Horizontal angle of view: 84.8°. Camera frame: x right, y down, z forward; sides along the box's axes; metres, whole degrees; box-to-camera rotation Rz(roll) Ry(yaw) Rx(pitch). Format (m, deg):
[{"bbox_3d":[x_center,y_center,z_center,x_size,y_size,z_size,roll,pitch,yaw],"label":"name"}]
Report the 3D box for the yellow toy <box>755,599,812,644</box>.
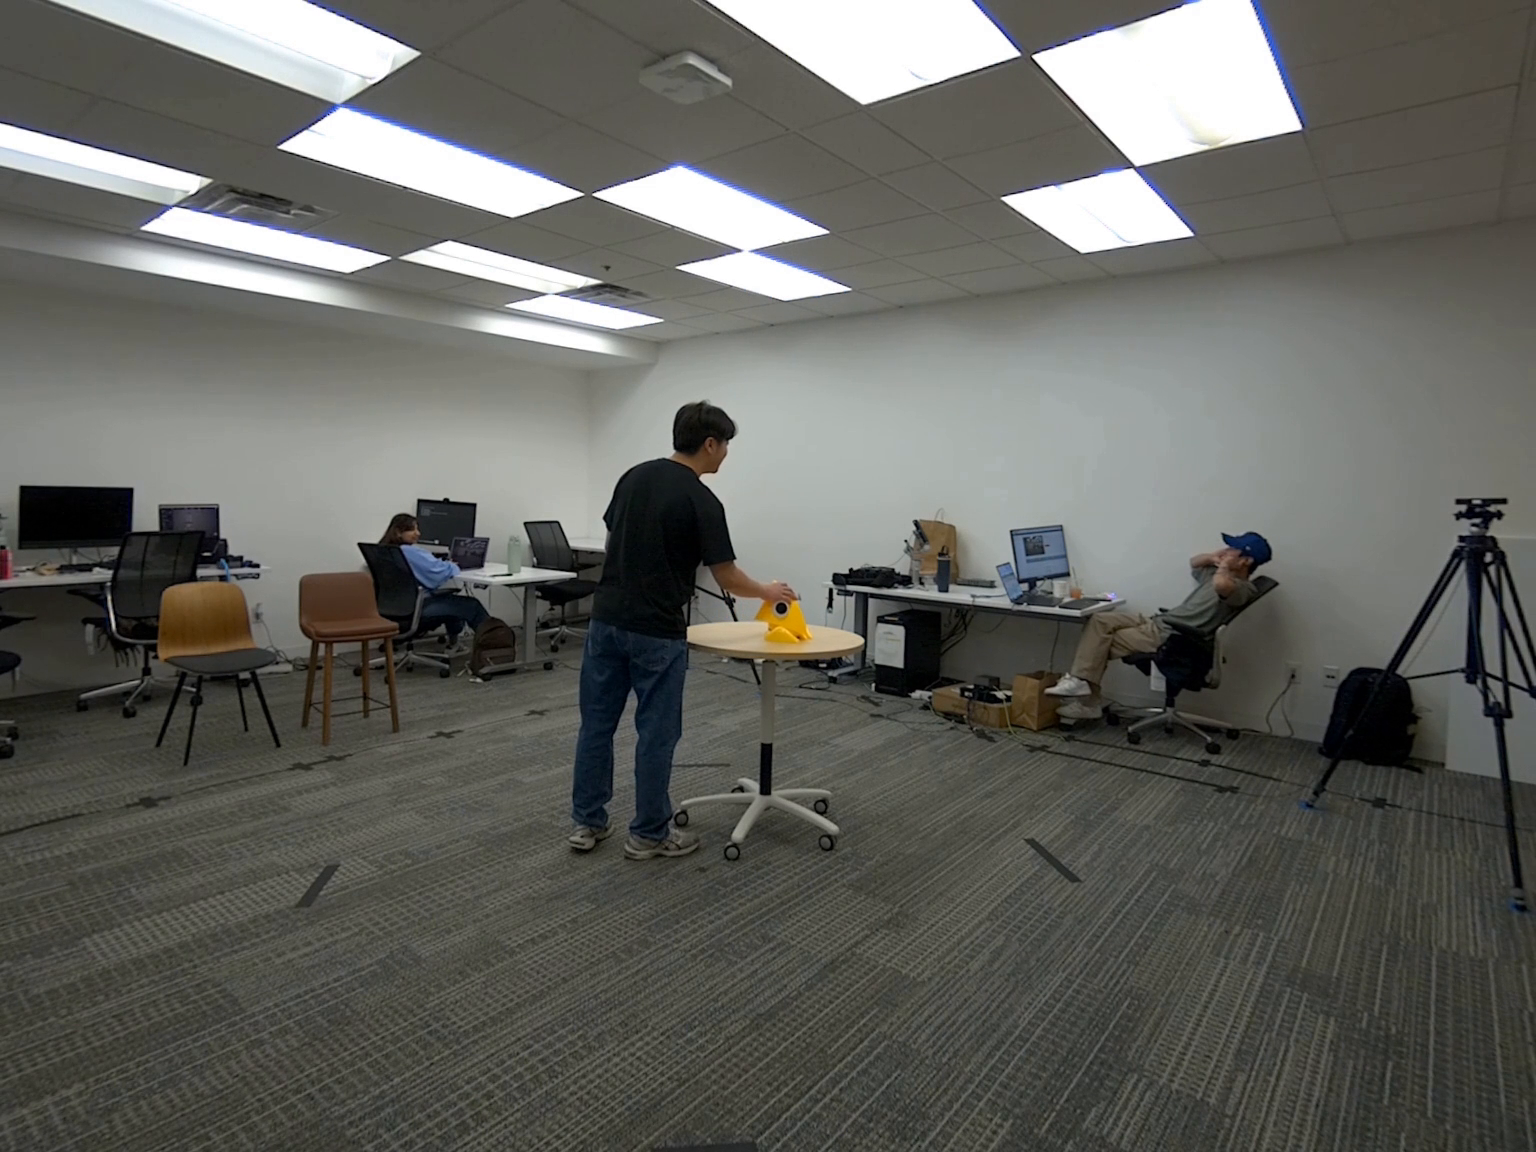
[{"bbox_3d":[0.062,0.139,3.419,0.199,0.230,0.199,3,3,32],"label":"yellow toy"}]
